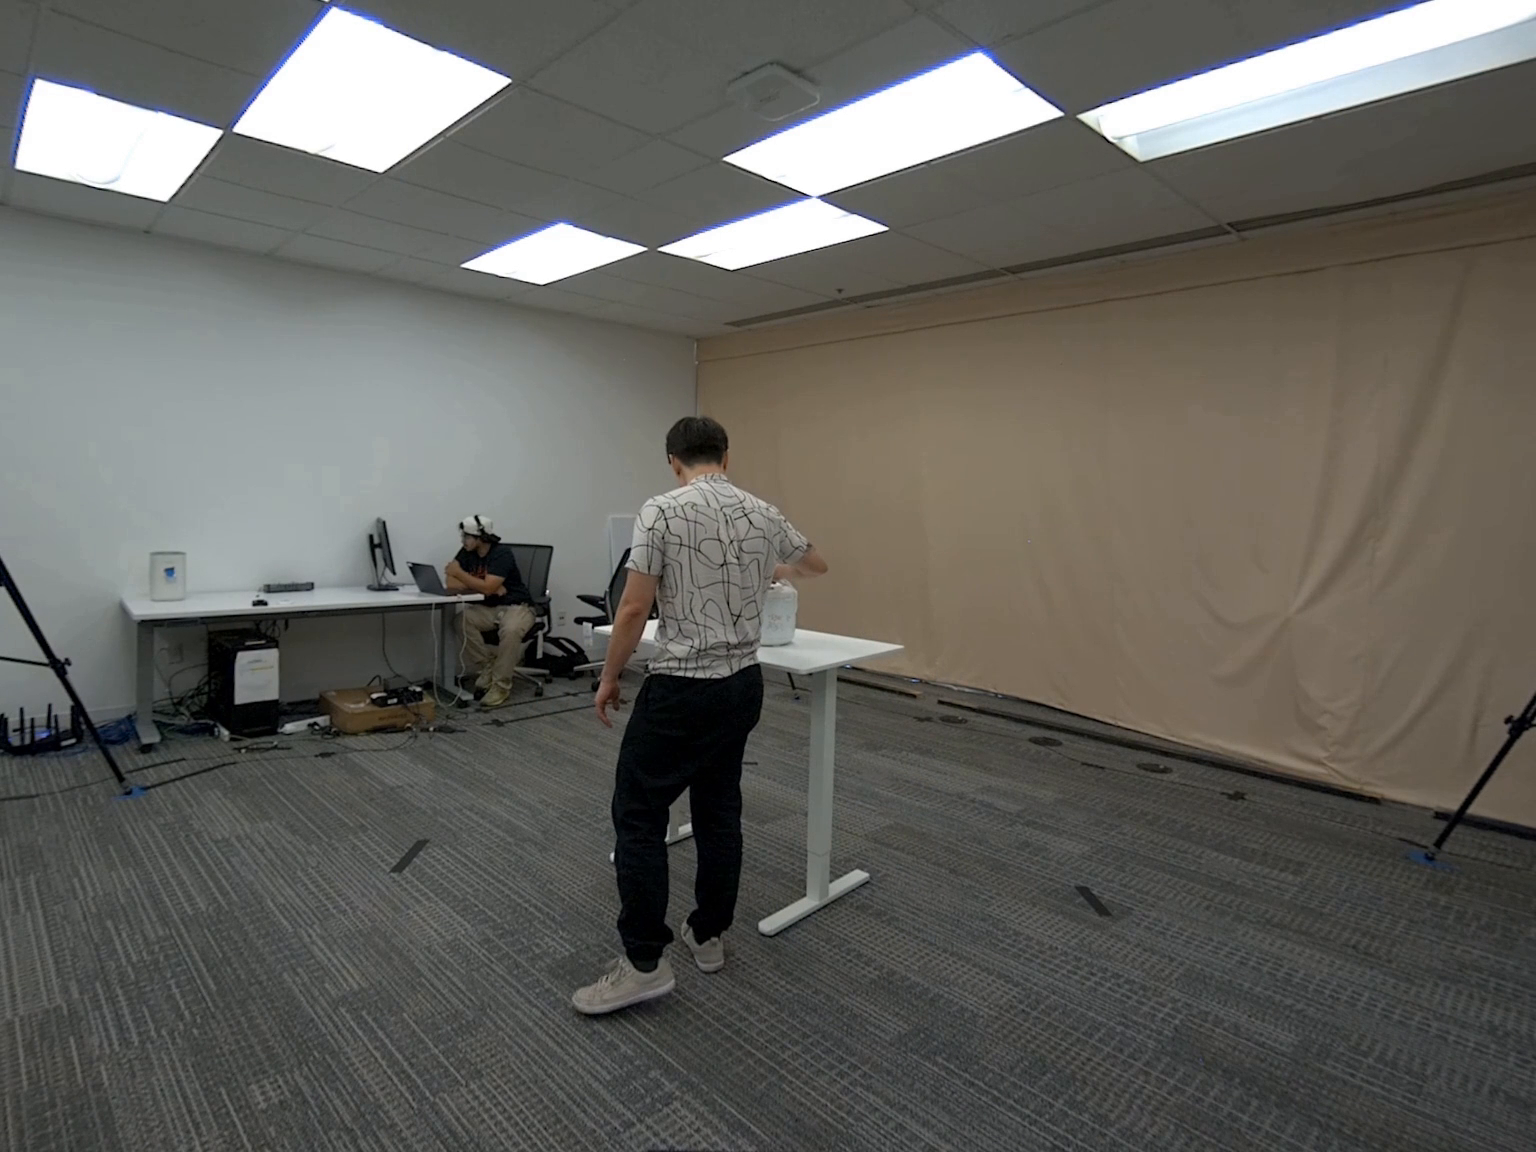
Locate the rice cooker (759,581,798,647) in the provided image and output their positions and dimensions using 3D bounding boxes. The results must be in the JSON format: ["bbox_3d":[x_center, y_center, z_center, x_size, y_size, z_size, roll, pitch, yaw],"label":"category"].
[{"bbox_3d":[-0.011,0.121,2.981,0.223,0.232,0.216,3,5,11],"label":"rice cooker"}]
